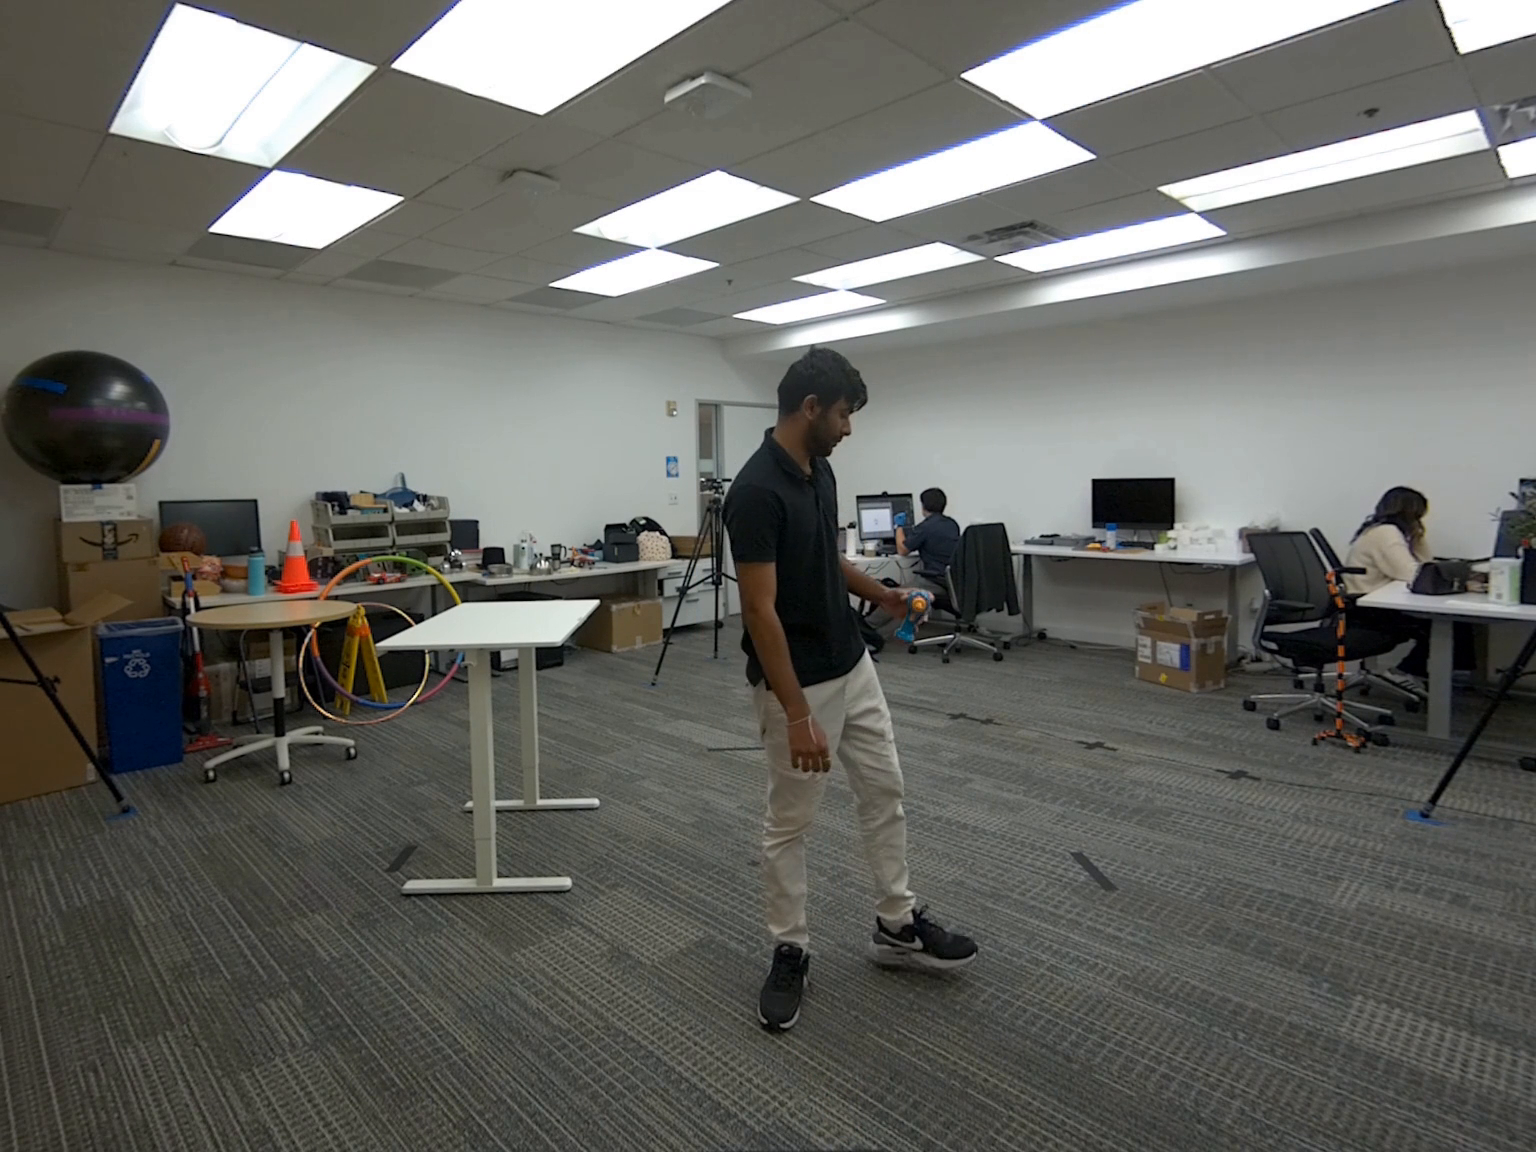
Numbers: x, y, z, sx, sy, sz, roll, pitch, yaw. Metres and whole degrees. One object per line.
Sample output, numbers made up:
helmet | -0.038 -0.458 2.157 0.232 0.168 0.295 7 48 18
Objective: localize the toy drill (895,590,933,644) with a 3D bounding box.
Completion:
toy drill | 0.369 0.108 2.208 0.061 0.145 0.169 20 8 3
